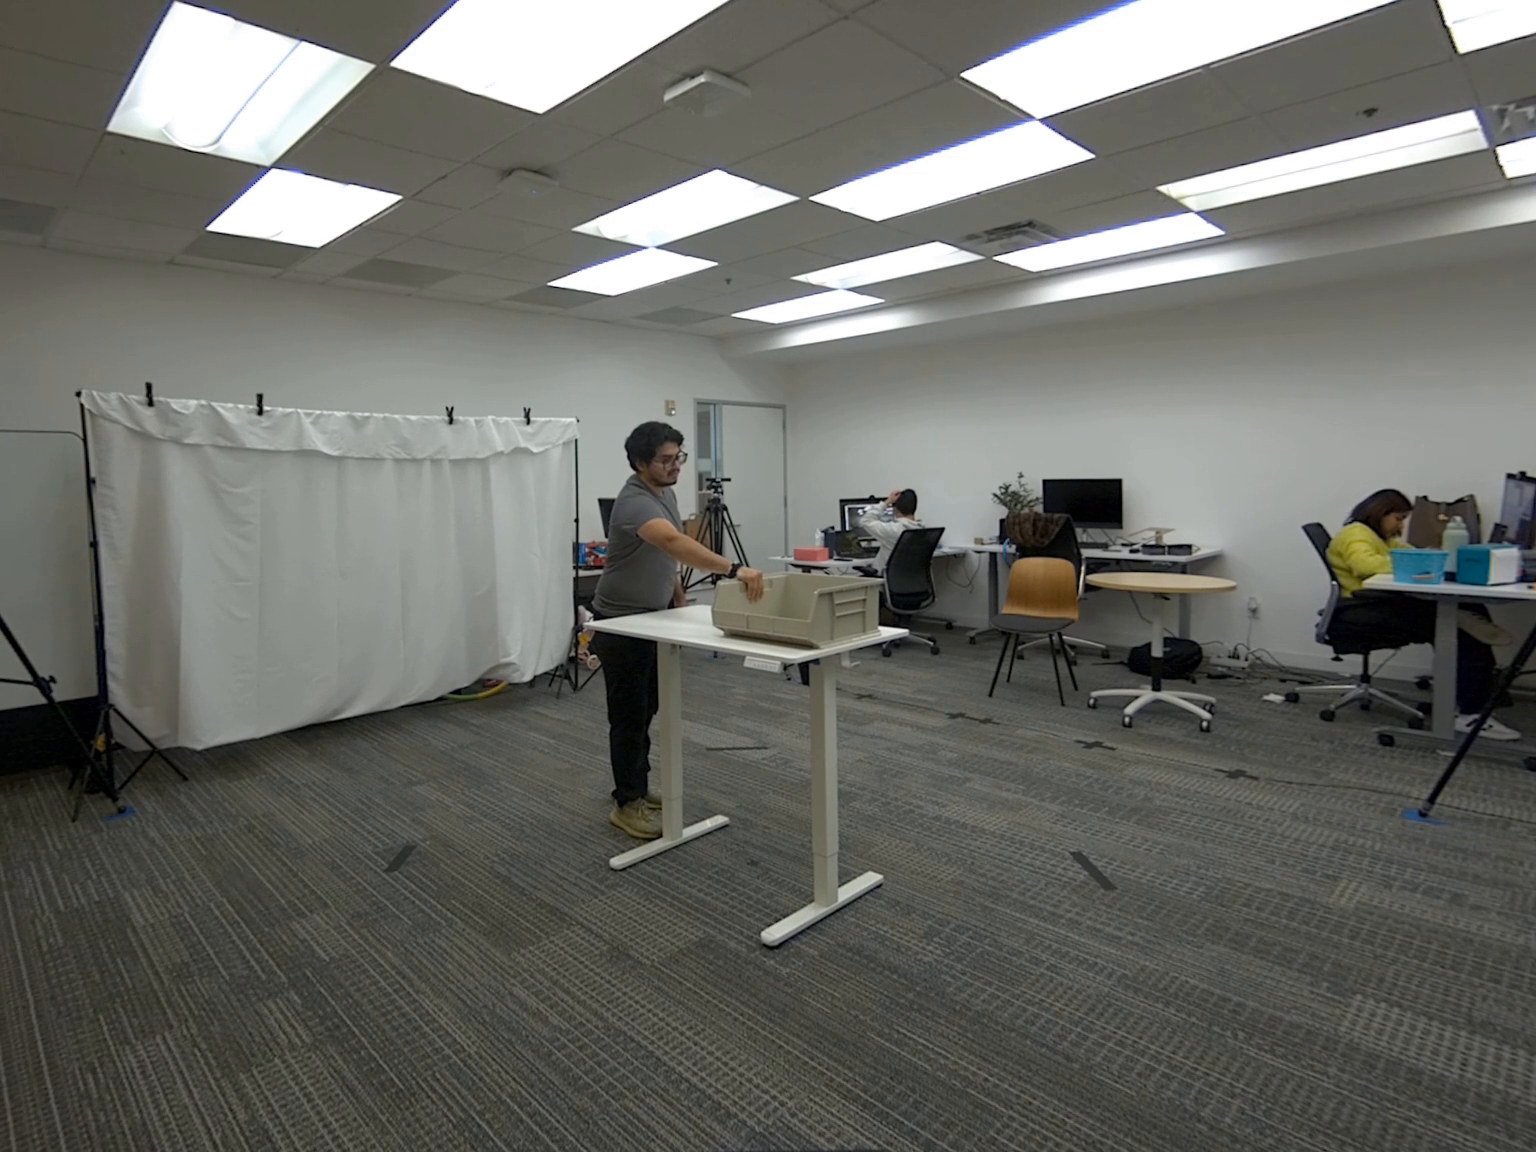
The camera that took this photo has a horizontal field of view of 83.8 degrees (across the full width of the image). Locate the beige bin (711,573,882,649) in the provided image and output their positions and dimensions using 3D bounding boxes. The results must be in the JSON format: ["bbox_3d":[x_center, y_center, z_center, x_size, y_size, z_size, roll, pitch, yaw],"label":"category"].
[{"bbox_3d":[0.097,0.107,2.748,0.435,0.188,0.367,4,6,45],"label":"beige bin"}]
